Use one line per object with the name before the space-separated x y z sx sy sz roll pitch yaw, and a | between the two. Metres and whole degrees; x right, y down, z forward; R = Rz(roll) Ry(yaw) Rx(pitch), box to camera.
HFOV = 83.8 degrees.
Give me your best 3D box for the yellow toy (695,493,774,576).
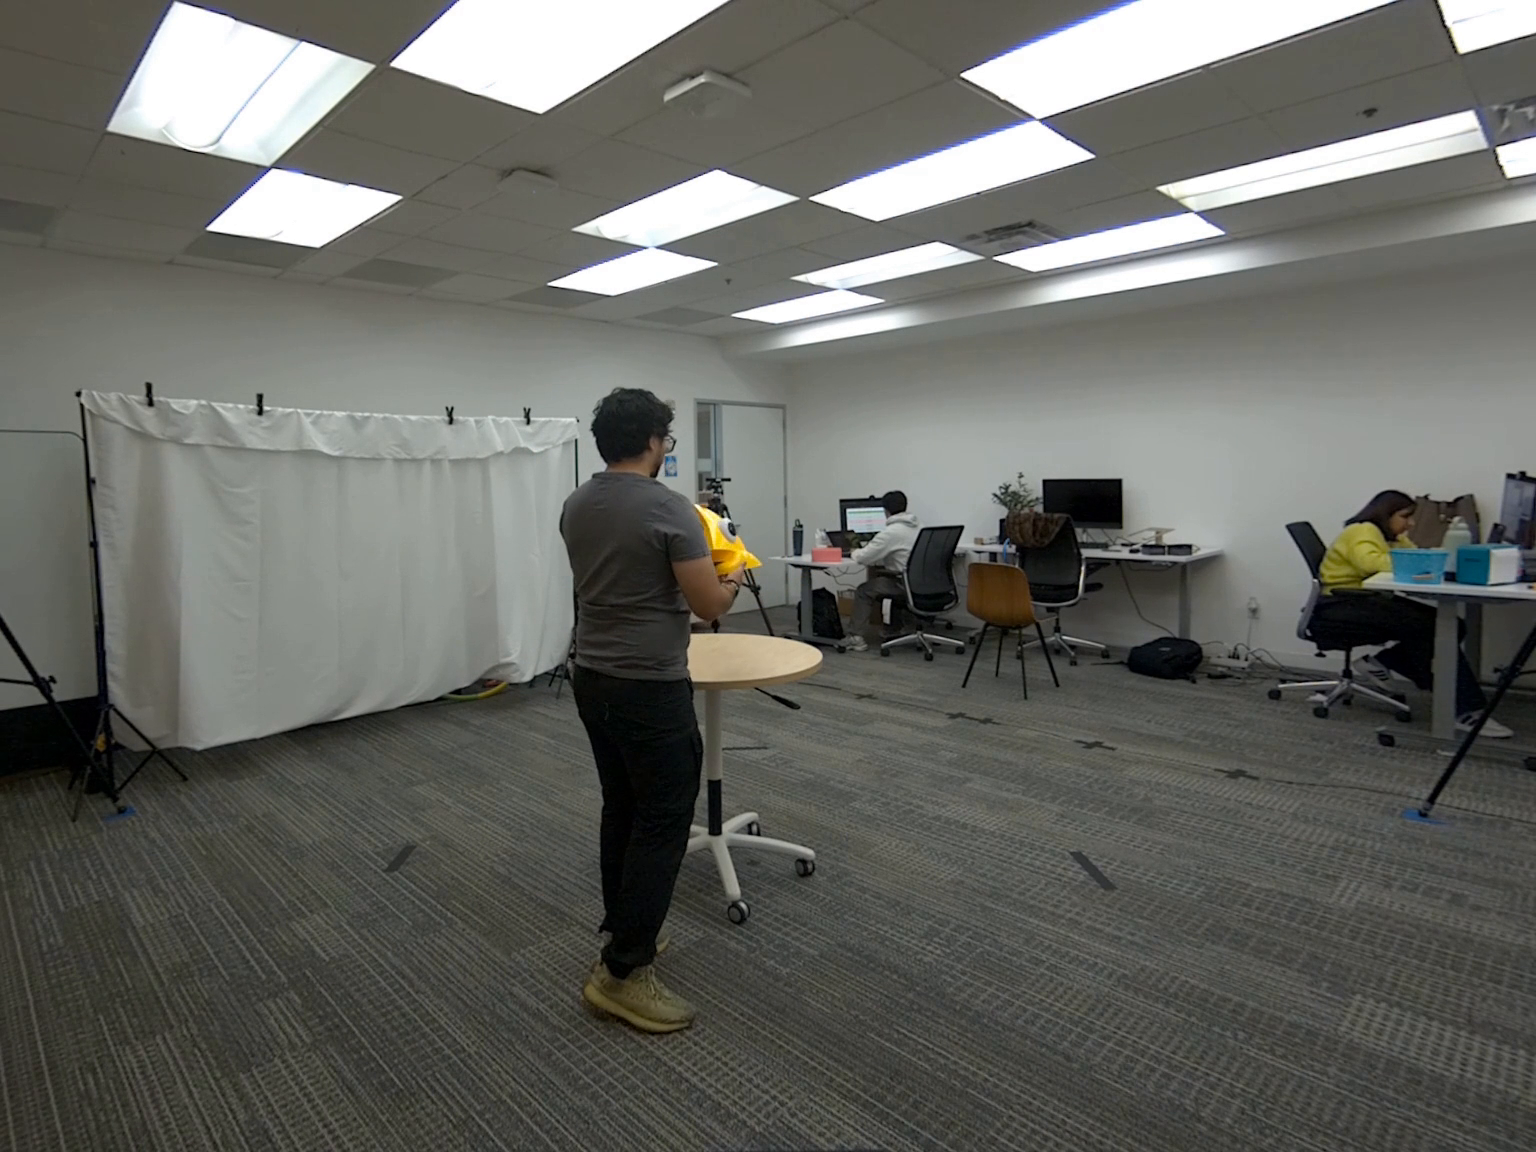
yellow toy | -0.146 -0.113 2.656 0.189 0.231 0.209 -13 0 -35
